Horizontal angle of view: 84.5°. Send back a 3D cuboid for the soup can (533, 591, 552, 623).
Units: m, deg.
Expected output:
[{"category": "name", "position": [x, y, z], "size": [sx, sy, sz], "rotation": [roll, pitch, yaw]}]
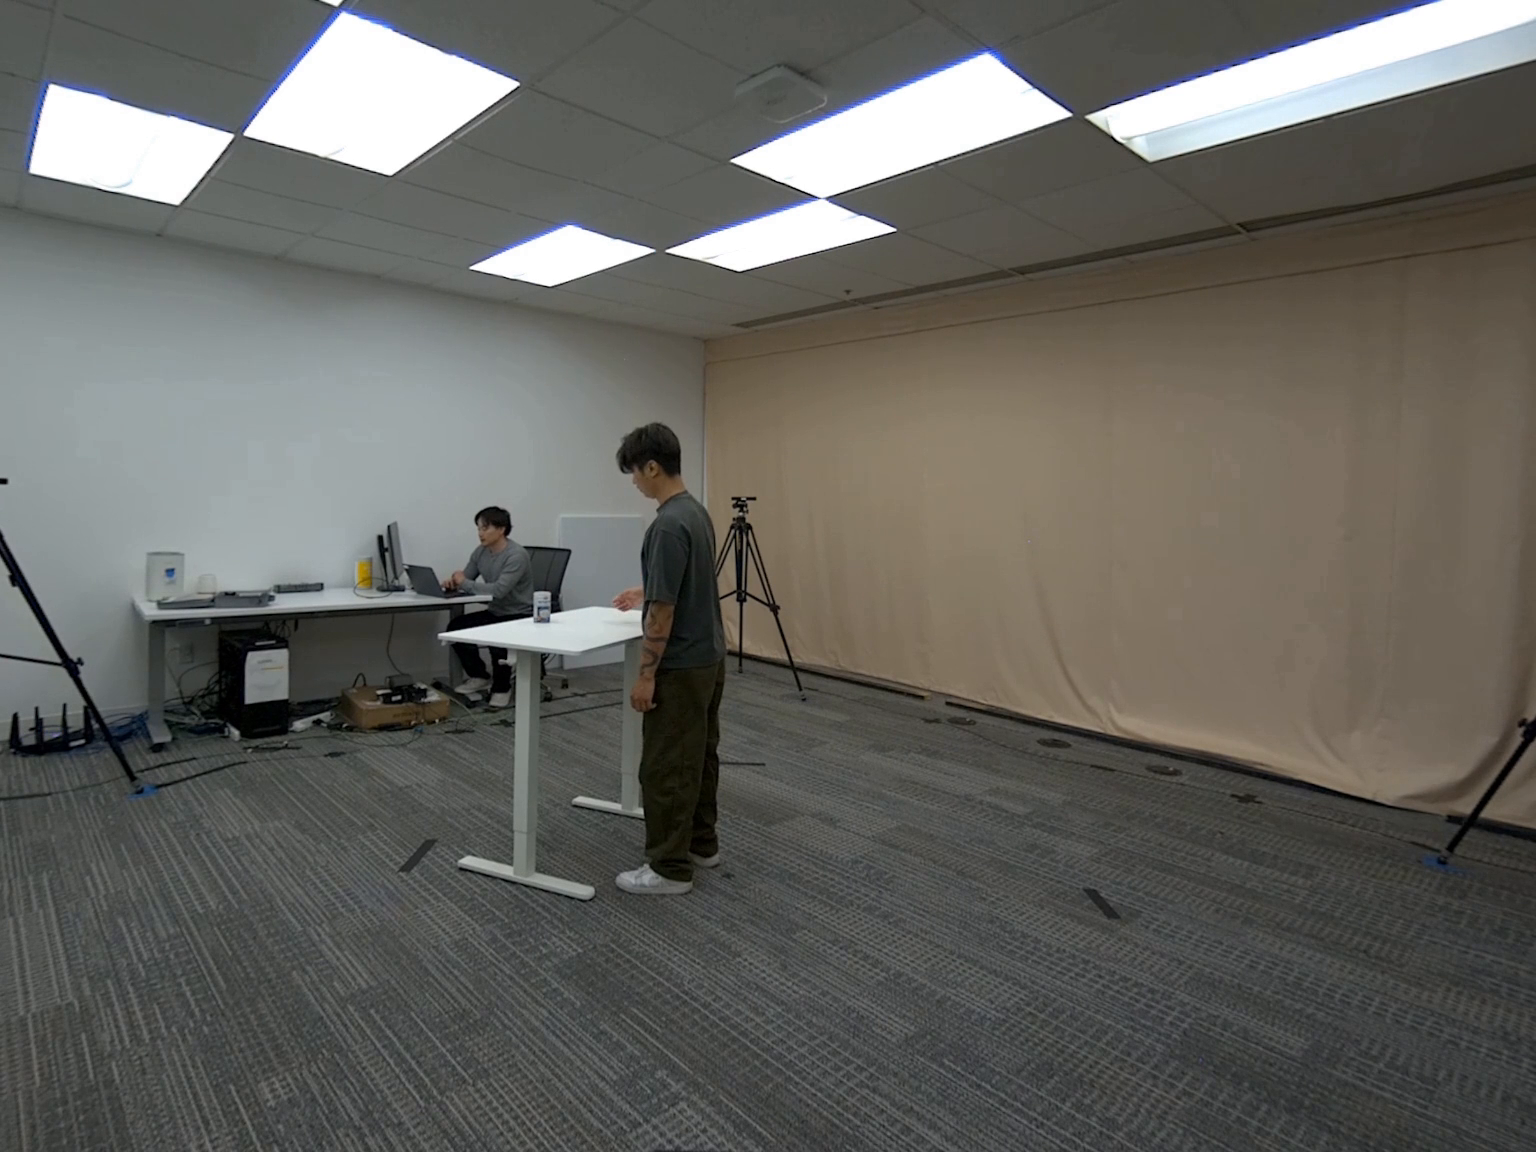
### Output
[{"category": "soup can", "position": [-0.902, 0.125, 3.345], "size": [0.067, 0.121, 0.067], "rotation": [-2, 5, -1]}]
